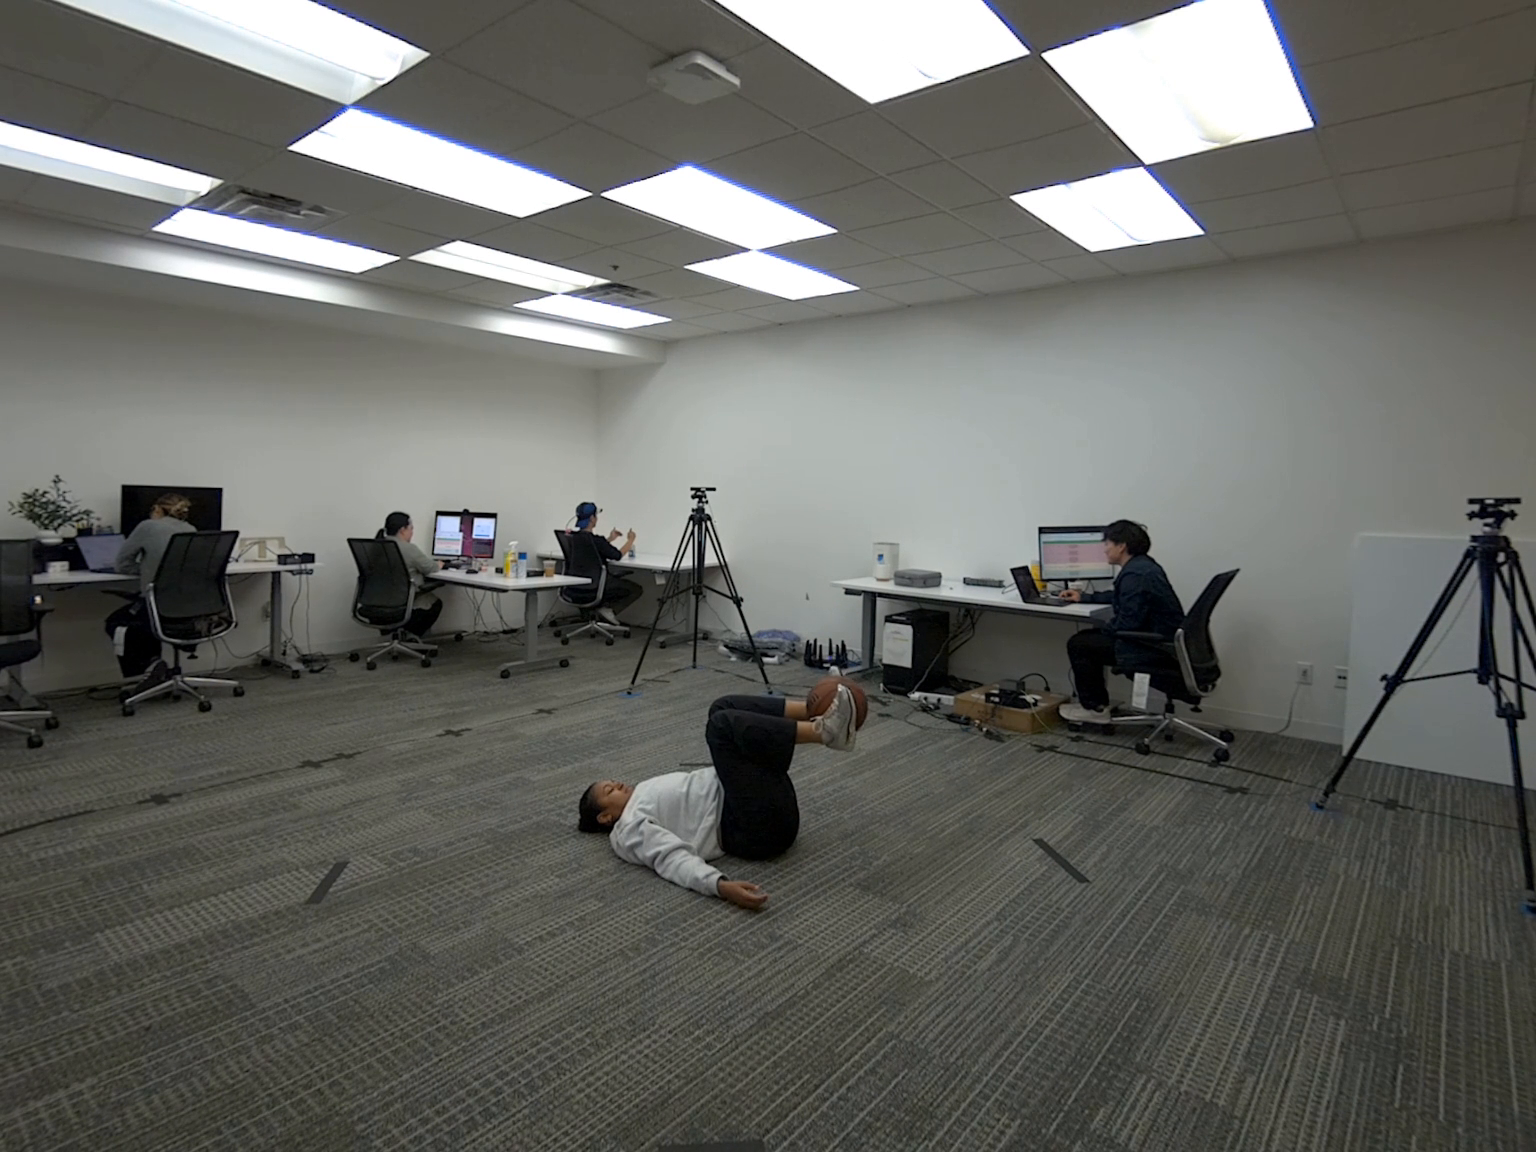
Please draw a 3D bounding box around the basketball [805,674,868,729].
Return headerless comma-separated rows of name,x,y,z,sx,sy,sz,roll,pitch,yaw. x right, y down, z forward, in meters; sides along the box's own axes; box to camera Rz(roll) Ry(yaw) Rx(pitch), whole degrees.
basketball,0.255,0.493,3.314,0.236,0.234,0.238,-2,8,-2
